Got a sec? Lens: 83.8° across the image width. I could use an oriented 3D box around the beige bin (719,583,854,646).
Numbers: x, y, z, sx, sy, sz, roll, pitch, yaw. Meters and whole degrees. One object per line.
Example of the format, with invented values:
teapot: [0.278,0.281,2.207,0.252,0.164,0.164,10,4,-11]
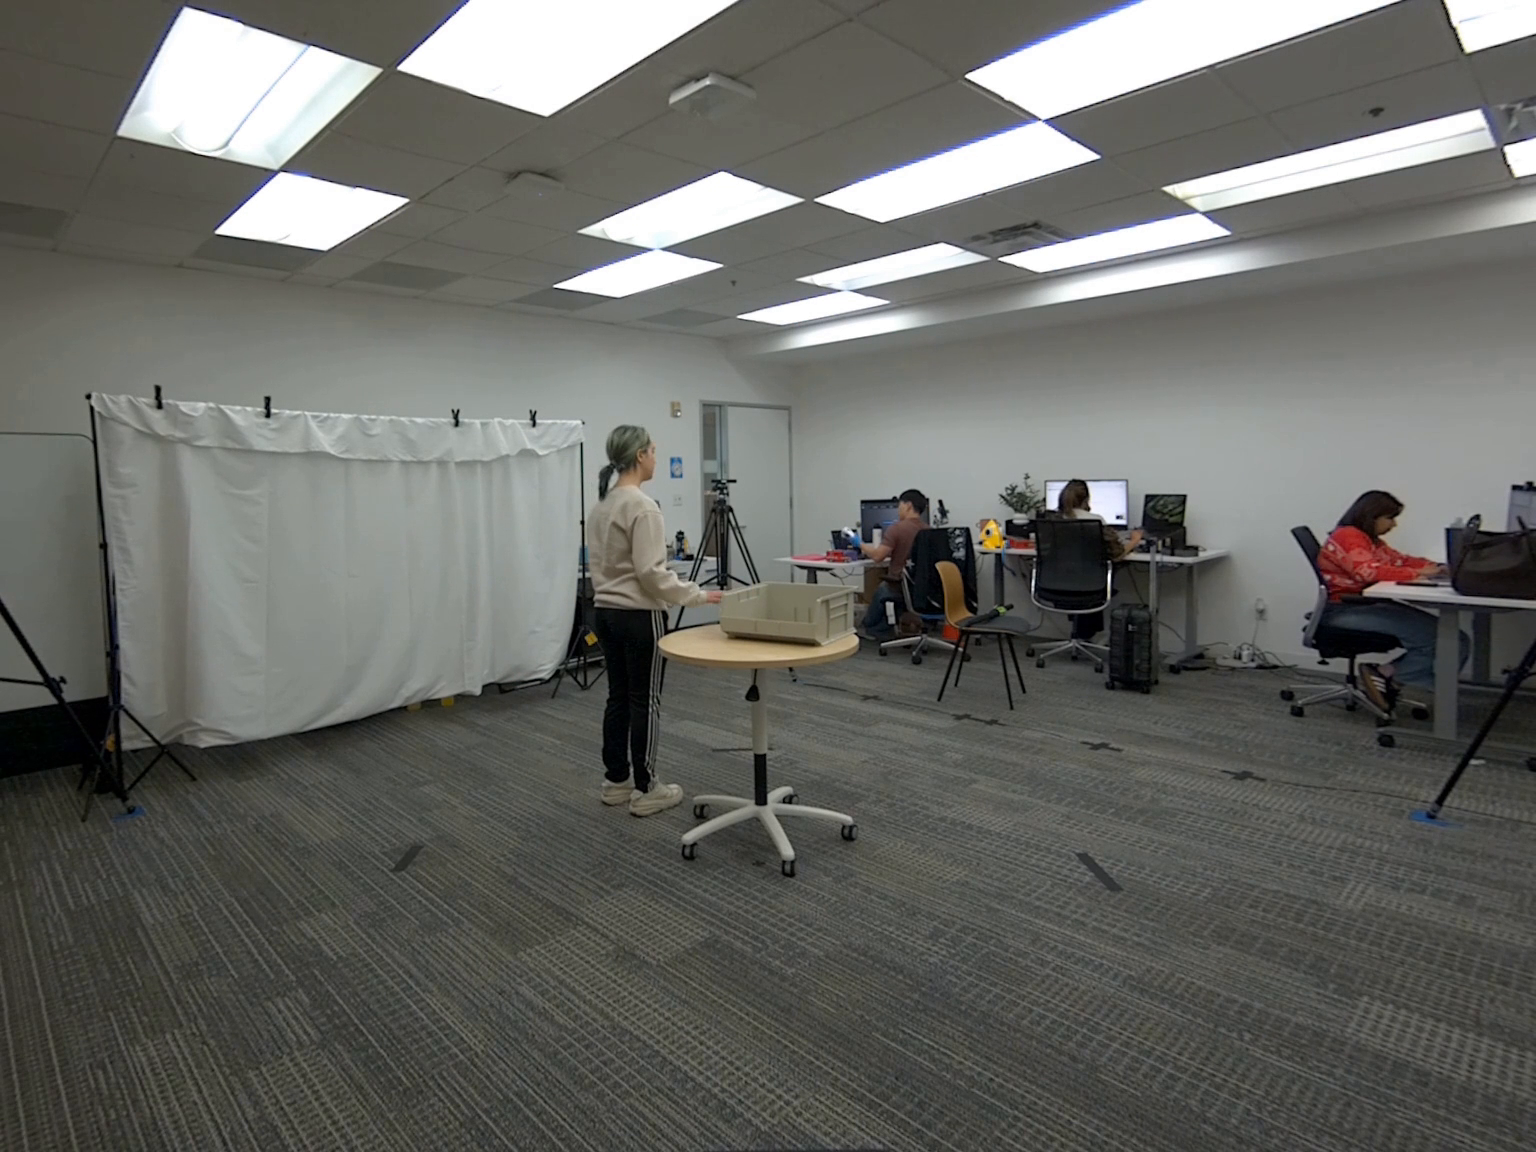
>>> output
beige bin: [0.084,0.145,3.325,0.433,0.188,0.369,2,5,31]
